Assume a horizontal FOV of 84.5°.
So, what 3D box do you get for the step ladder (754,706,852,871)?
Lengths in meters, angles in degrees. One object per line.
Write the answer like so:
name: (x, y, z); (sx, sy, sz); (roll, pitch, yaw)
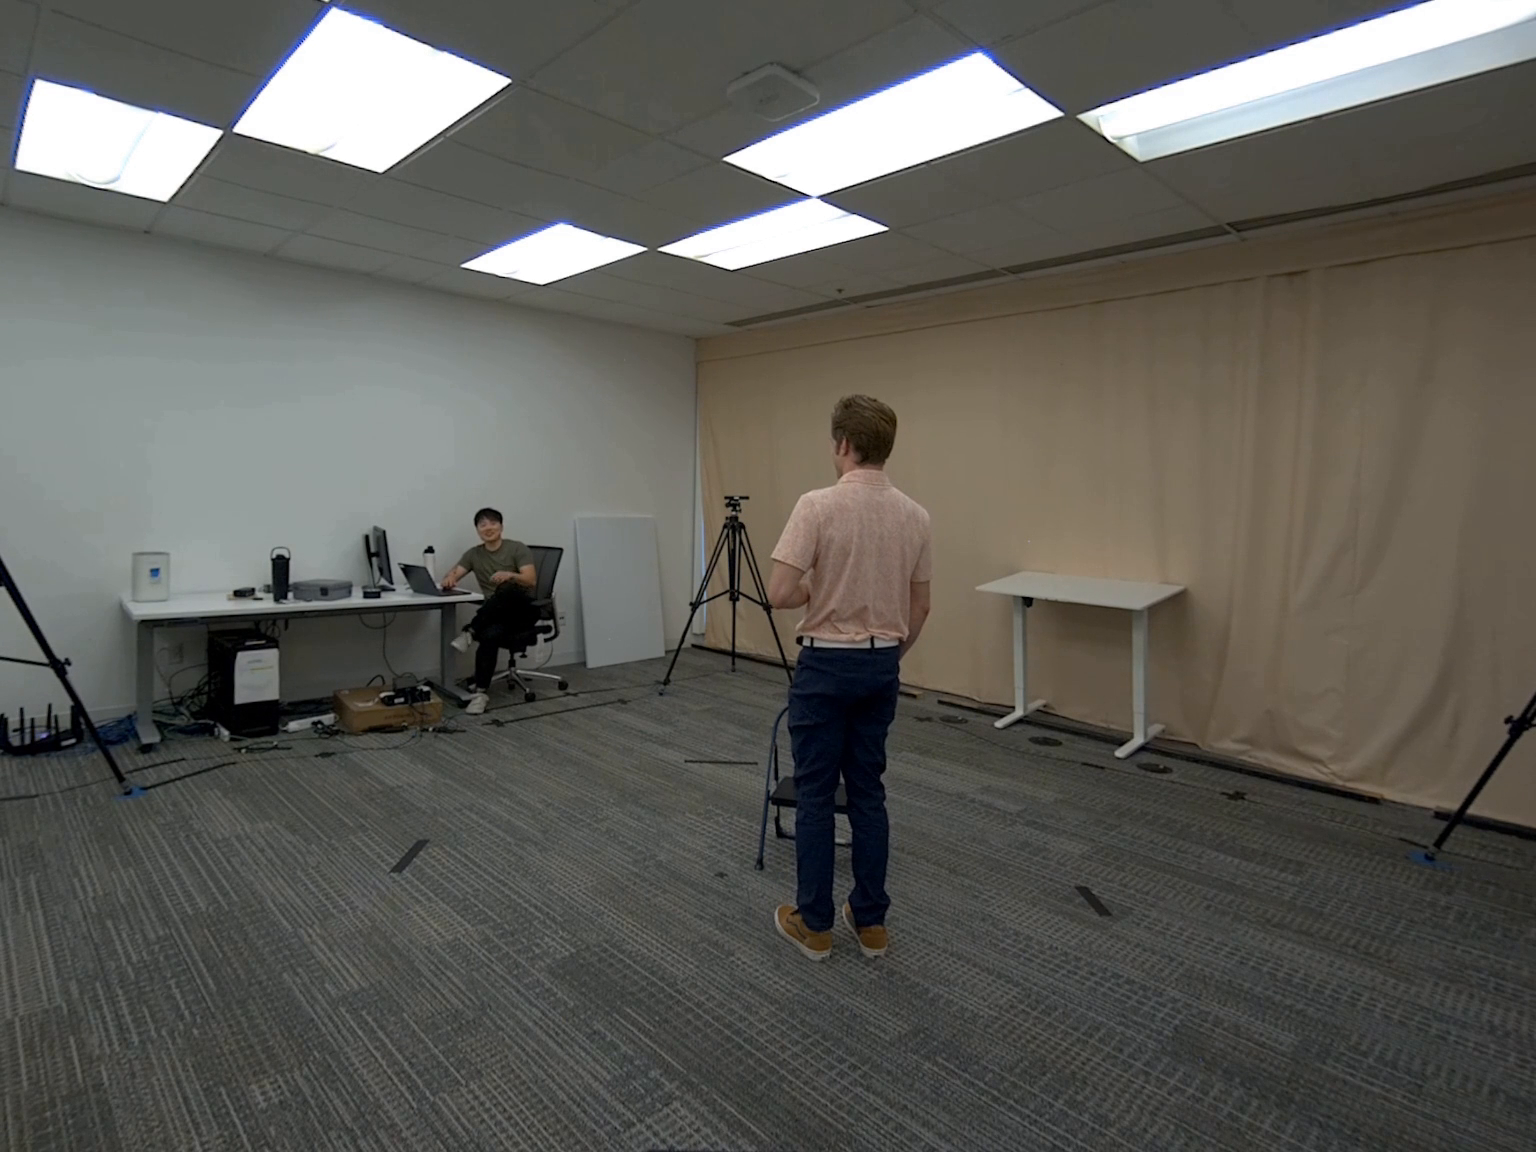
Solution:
step ladder: (0.200, 0.800, 3.250); (0.436, 0.604, 0.346); (3, 4, 15)
